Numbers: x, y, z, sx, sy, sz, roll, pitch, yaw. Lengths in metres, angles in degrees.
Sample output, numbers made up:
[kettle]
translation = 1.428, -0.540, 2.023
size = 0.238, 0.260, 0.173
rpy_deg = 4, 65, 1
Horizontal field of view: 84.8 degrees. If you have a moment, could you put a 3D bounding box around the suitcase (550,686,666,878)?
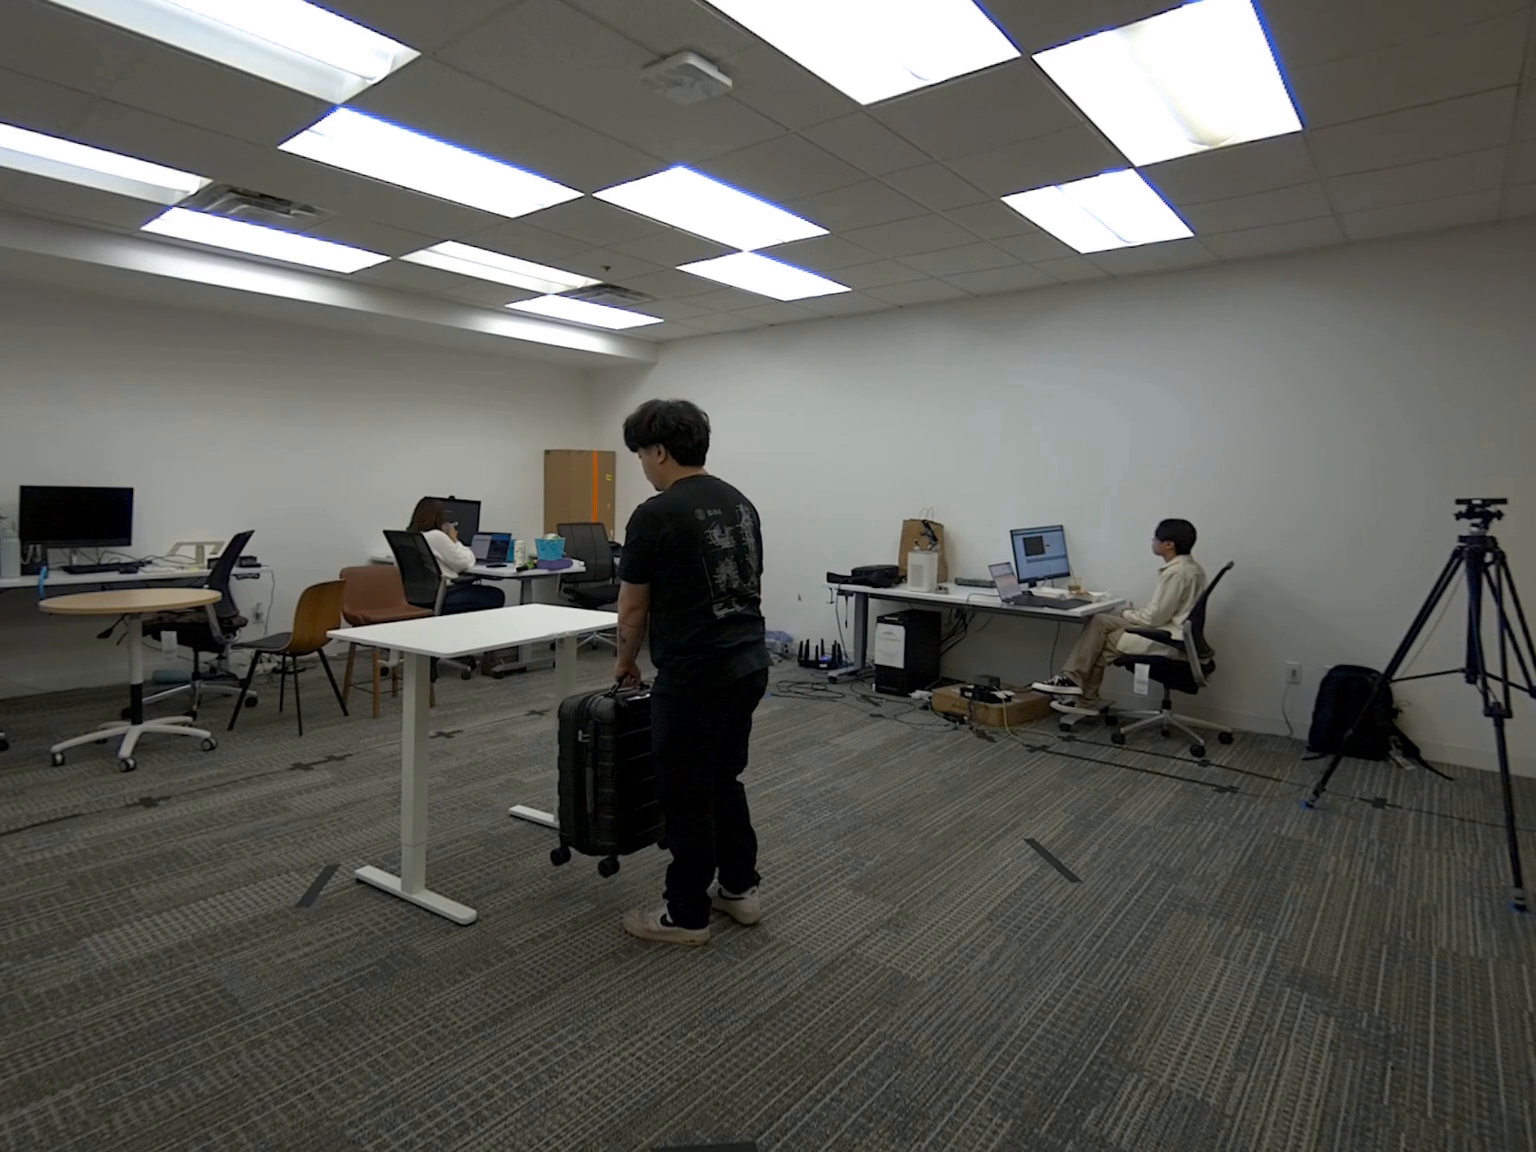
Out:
[suitcase]
translation = -0.506, 0.640, 2.783
size = 0.256, 0.550, 0.364
rpy_deg = -1, 0, 33
